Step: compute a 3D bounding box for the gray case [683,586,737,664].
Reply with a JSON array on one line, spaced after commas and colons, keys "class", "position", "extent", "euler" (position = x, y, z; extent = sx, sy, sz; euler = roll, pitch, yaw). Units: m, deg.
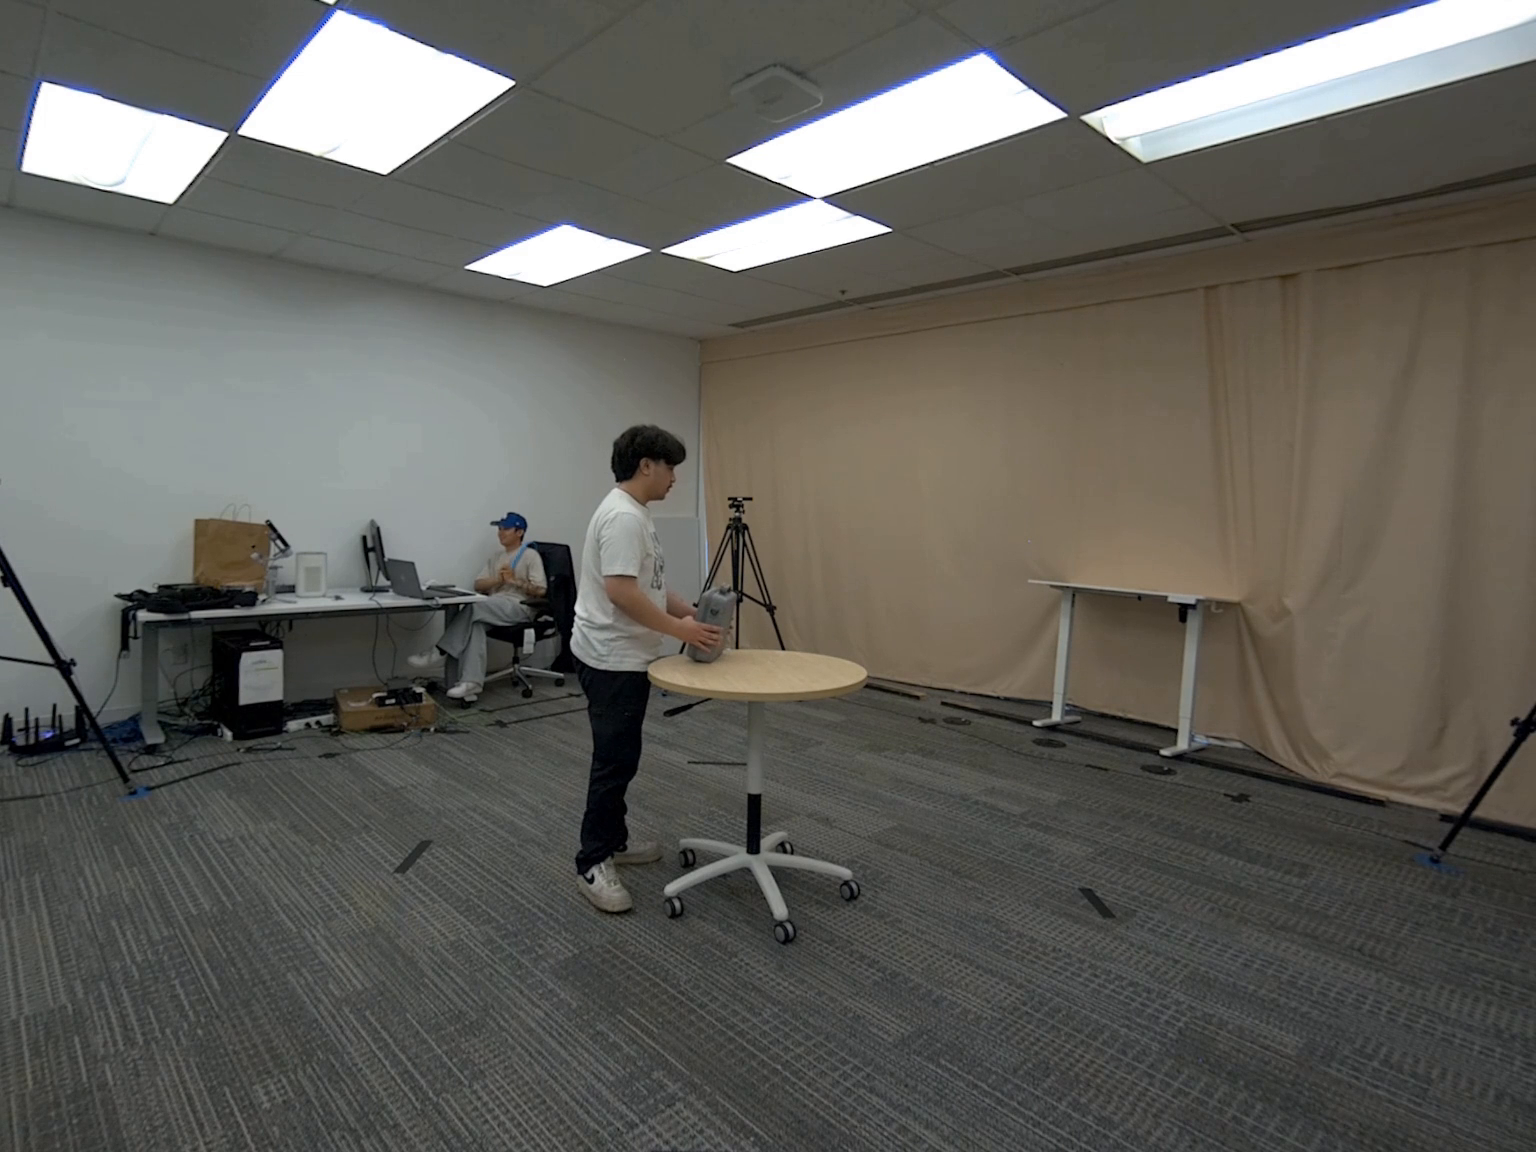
[{"class": "gray case", "position": [-0.209, 0.174, 3.129], "extent": [0.105, 0.259, 0.255], "euler": [13, 7, 8]}]
